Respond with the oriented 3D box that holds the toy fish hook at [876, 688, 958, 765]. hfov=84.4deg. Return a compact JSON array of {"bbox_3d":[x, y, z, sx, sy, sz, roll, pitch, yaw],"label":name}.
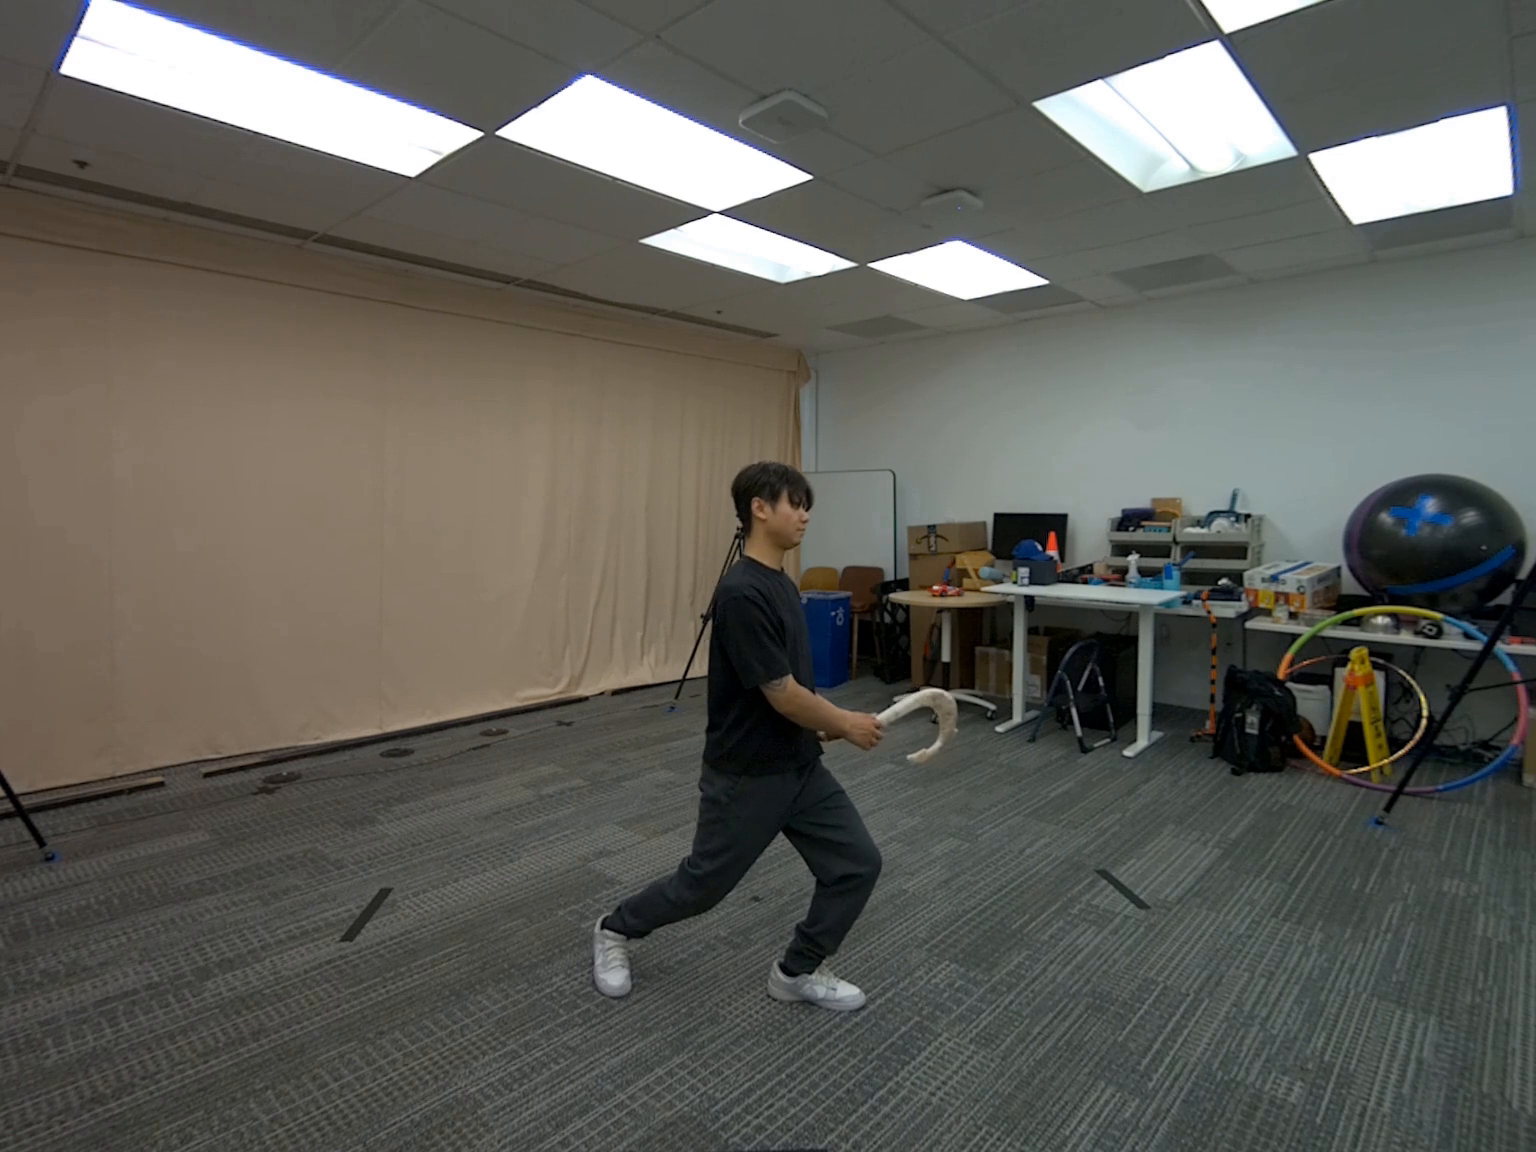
[{"bbox_3d":[0.371,0.461,2.509,0.496,0.223,0.049,-9,9,-24],"label":"toy fish hook"}]
